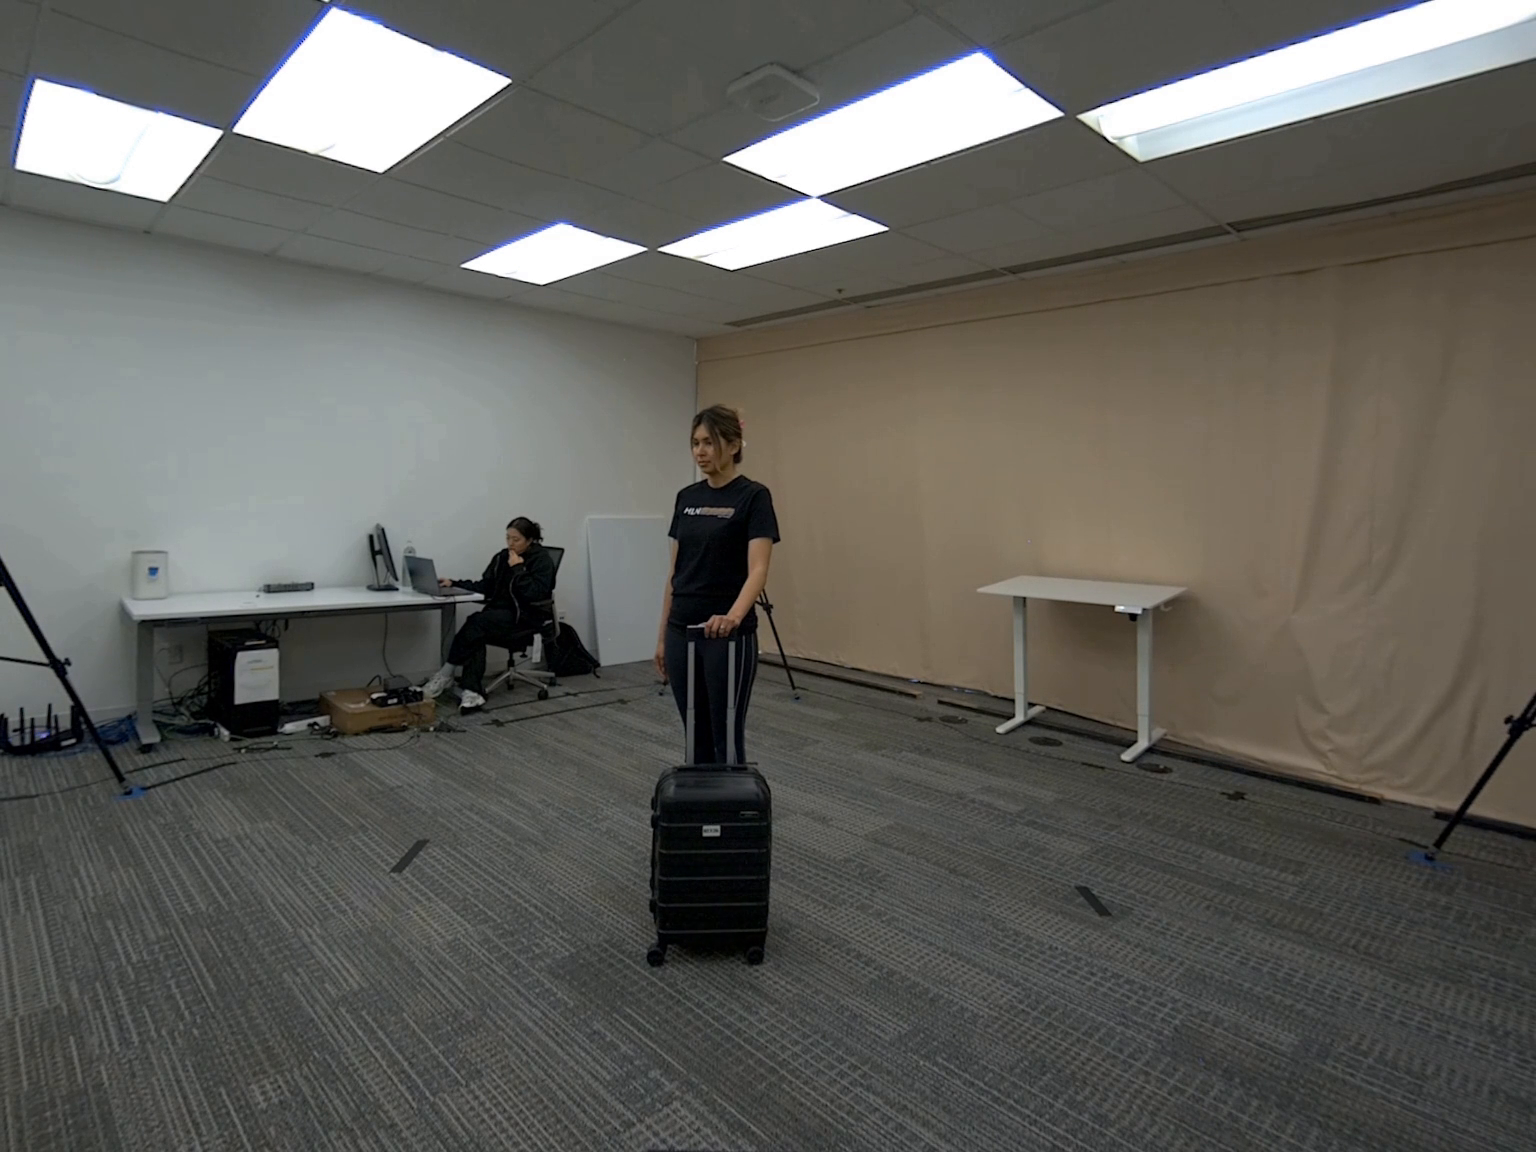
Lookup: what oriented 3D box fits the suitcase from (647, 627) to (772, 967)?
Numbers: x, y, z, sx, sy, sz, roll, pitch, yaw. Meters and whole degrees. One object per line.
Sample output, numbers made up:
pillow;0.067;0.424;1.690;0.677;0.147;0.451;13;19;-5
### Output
suitcase;-0.176;0.676;2.588;0.383;0.974;0.259;1;7;-3
